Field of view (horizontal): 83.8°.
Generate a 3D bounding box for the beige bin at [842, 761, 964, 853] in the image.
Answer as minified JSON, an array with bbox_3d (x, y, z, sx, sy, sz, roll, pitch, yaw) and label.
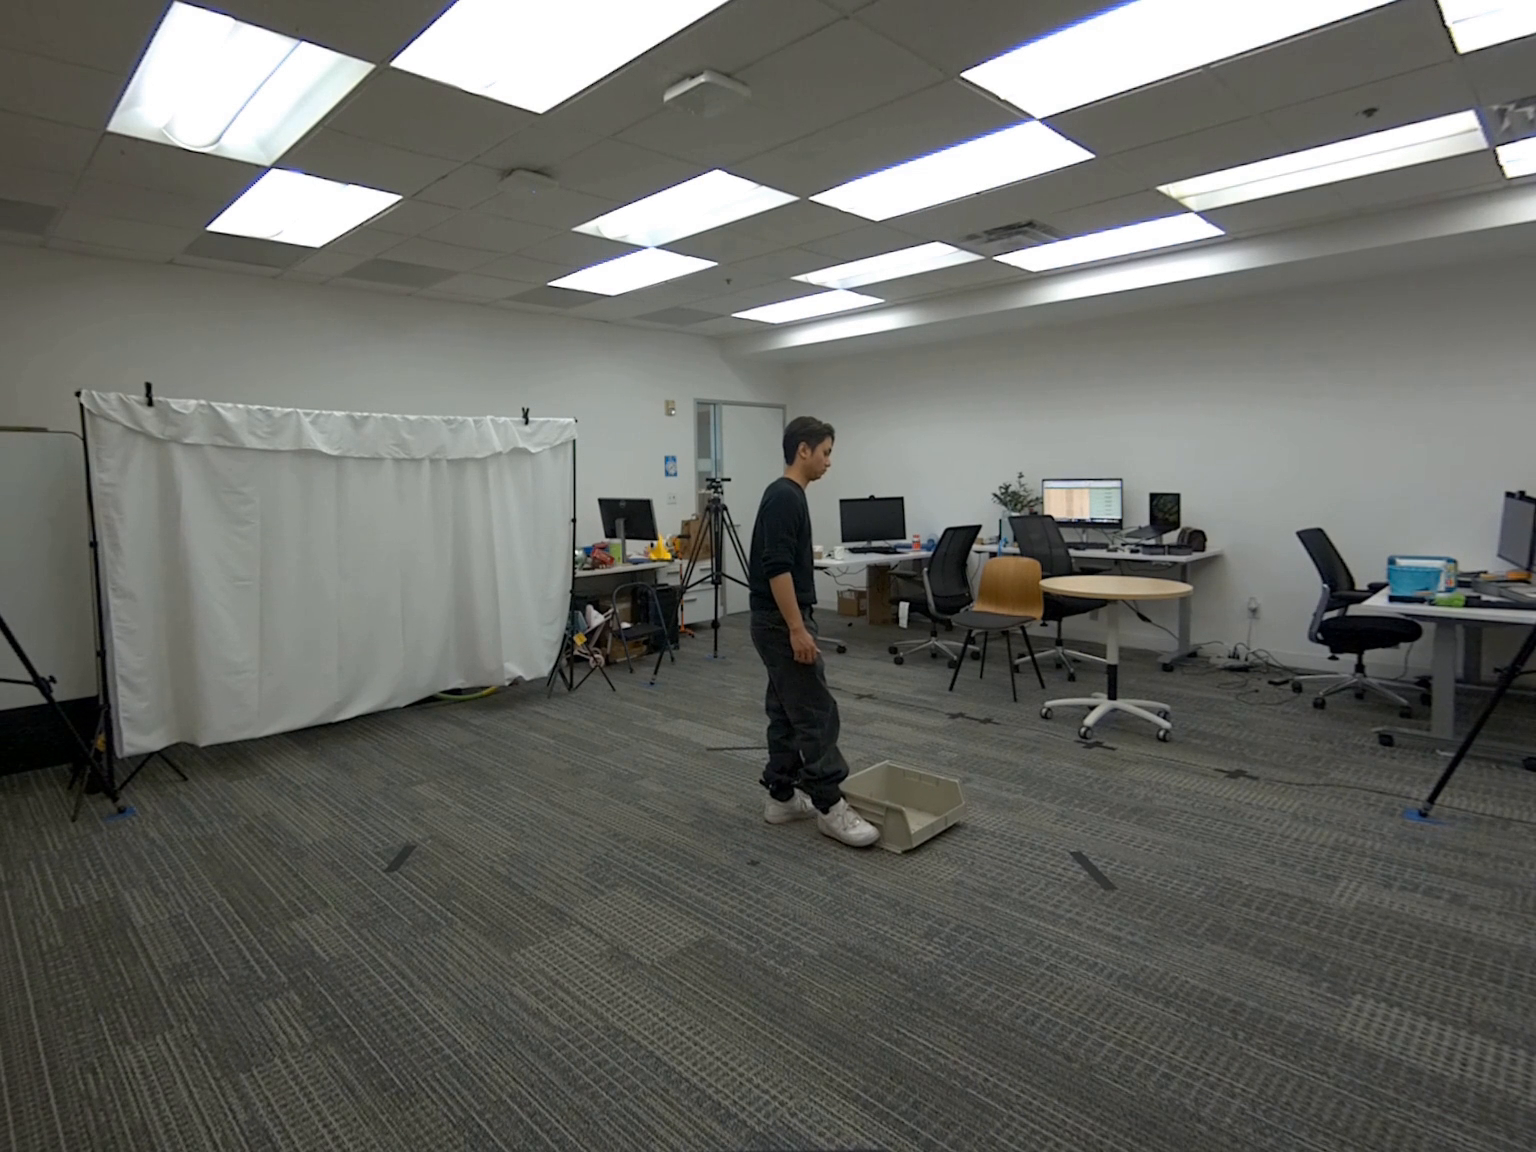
[{"bbox_3d":[0.519,0.911,3.393,0.389,0.188,0.411,3,7,42],"label":"beige bin"}]
